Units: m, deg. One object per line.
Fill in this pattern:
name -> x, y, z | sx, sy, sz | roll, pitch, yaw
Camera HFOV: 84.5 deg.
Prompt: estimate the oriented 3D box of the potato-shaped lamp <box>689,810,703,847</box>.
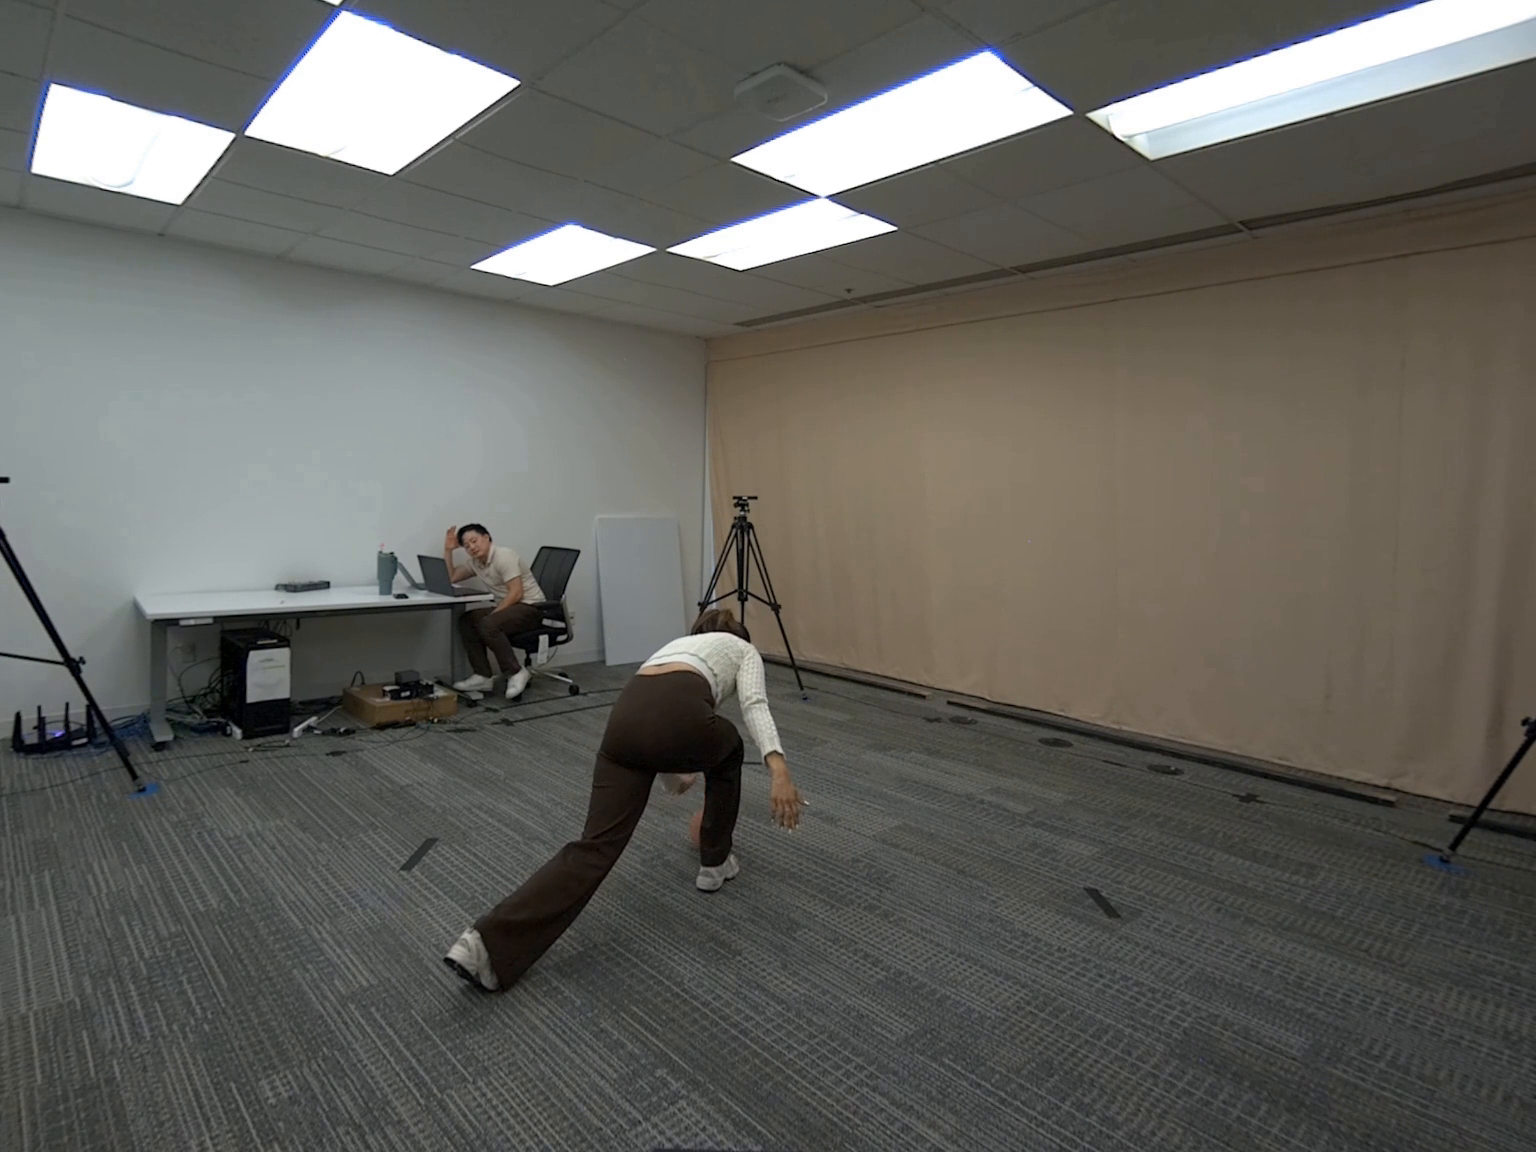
potato-shaped lamp -> -0.225, 0.973, 3.310 | 0.165, 0.195, 0.173 | 10, 23, 4
